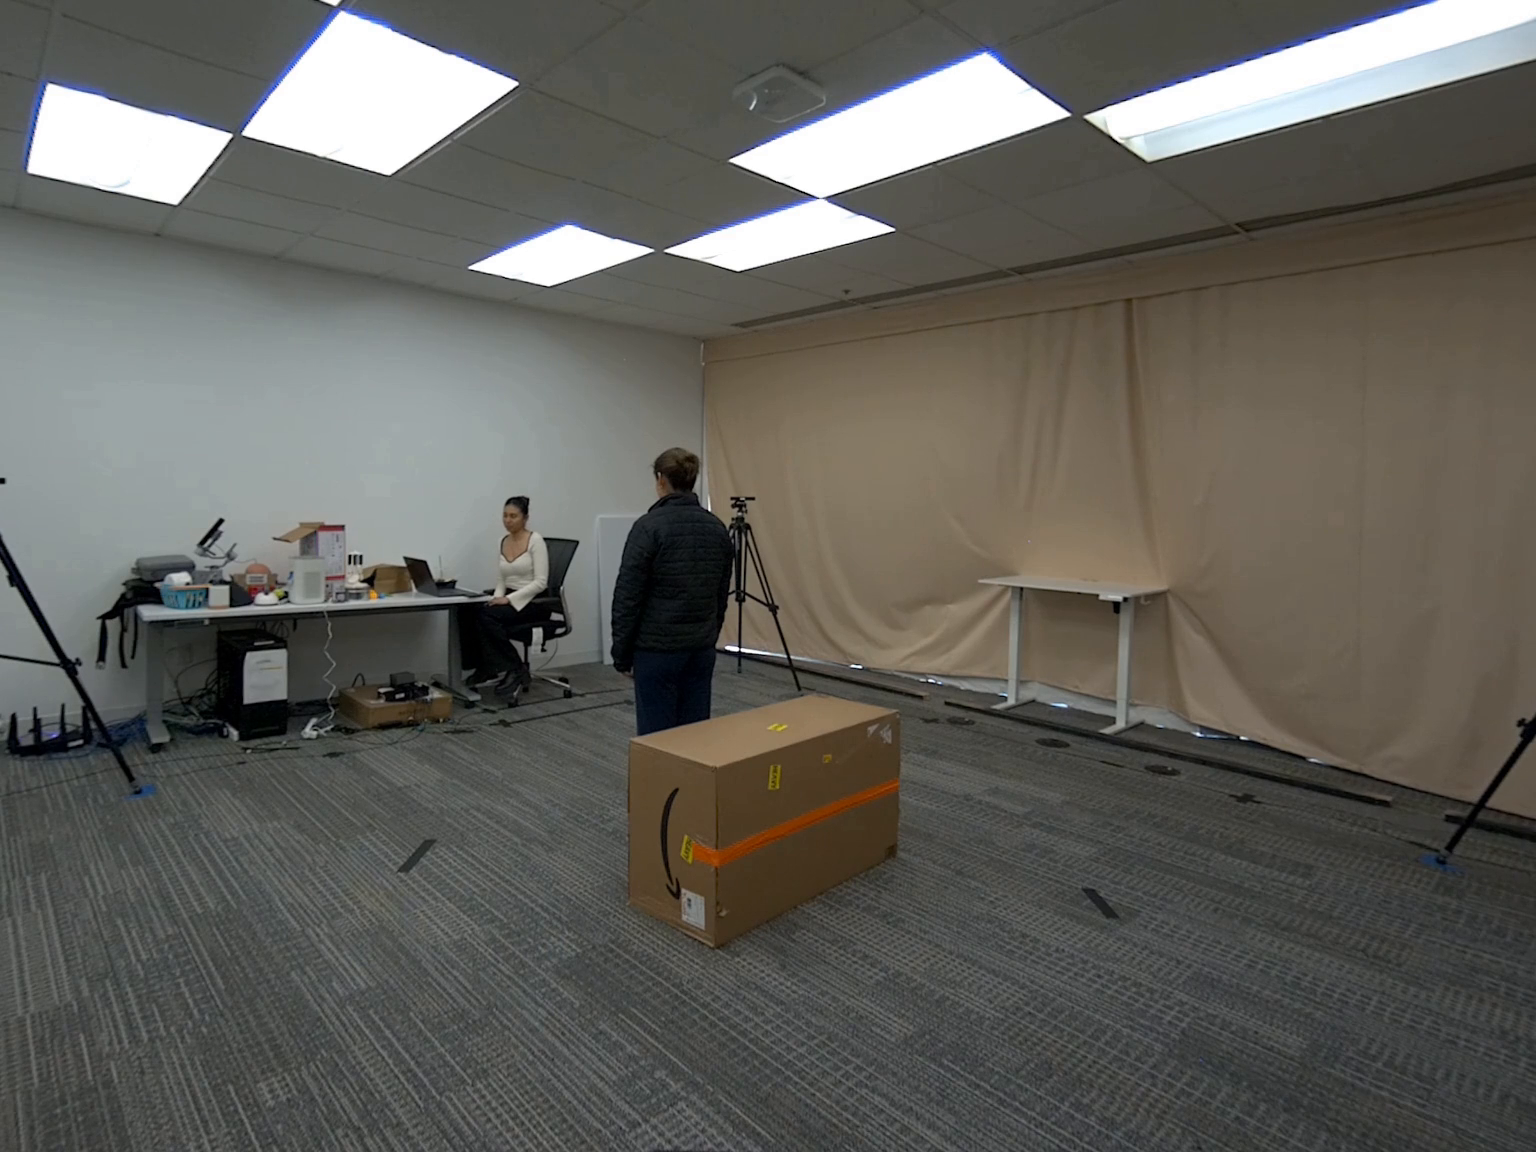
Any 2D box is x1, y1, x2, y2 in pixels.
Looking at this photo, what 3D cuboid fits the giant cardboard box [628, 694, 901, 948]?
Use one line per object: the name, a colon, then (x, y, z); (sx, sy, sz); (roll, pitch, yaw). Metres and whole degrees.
giant cardboard box: (0.020, 0.829, 3.070); (0.437, 0.576, 1.003); (3, 5, 43)
